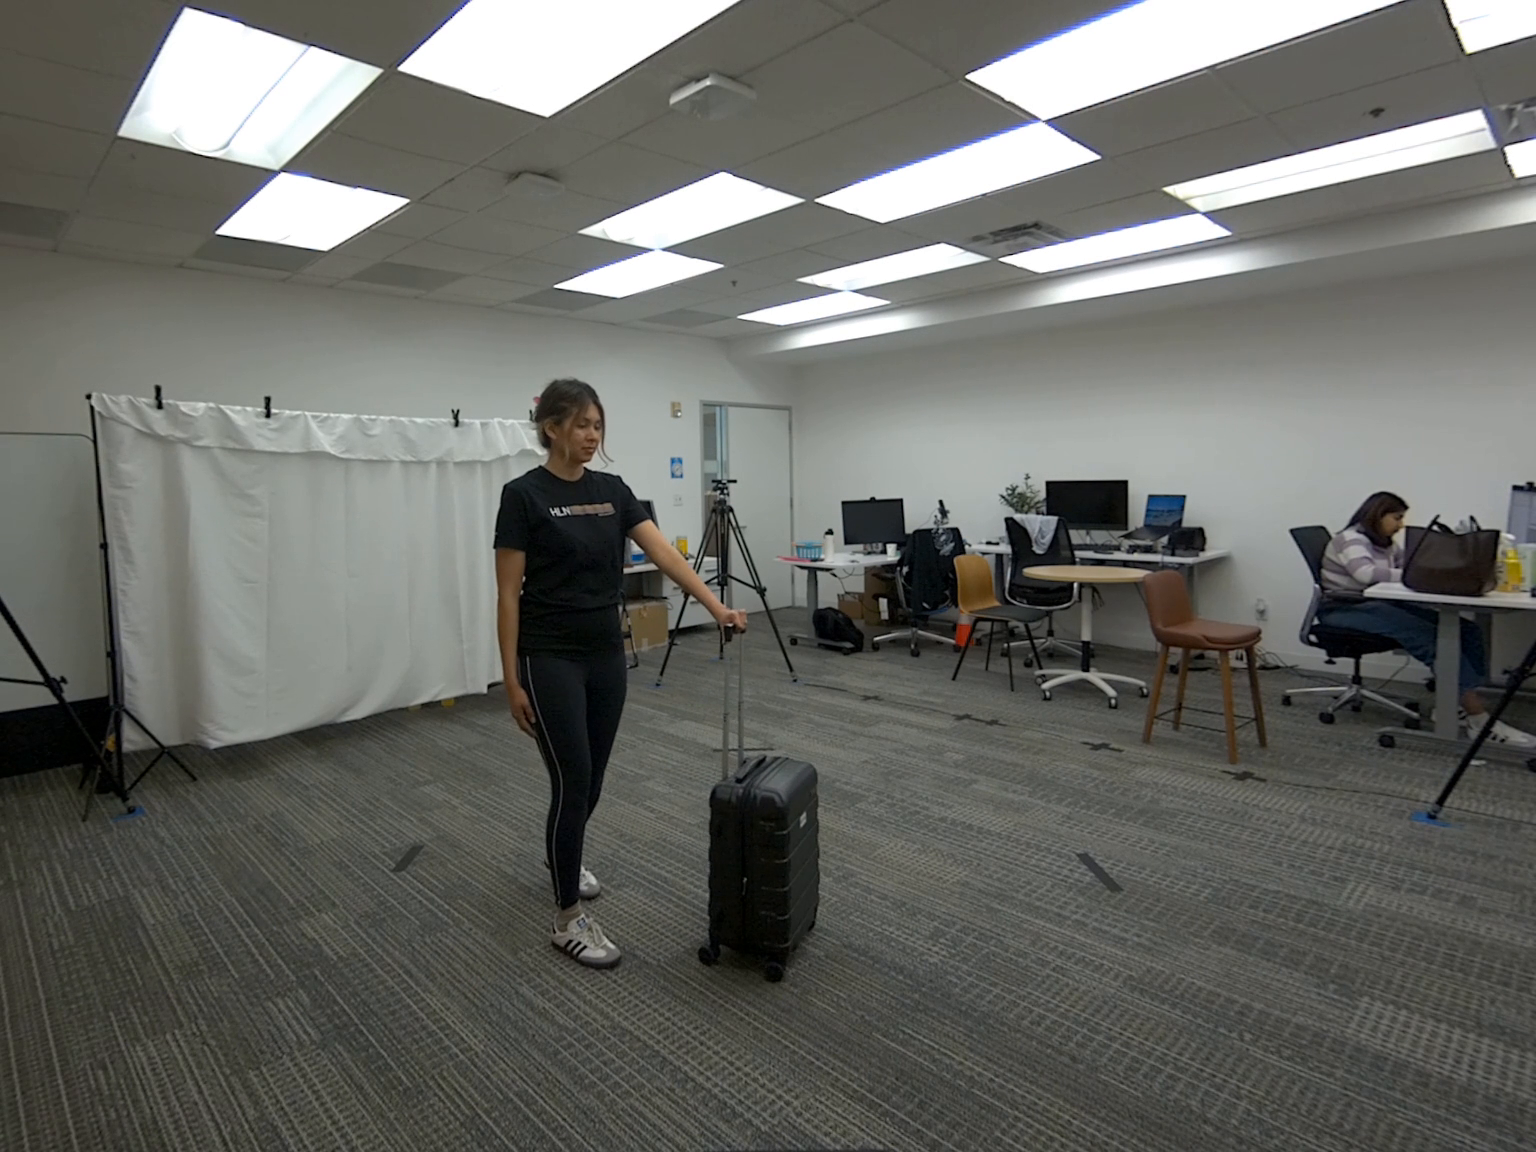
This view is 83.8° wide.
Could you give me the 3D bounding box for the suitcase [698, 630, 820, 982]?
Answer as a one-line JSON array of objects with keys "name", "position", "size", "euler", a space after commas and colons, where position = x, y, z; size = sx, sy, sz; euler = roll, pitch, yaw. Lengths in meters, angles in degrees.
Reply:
[{"name": "suitcase", "position": [0.007, 0.637, 2.535], "size": [0.262, 0.974, 0.378], "euler": [5, 6, 20]}]
